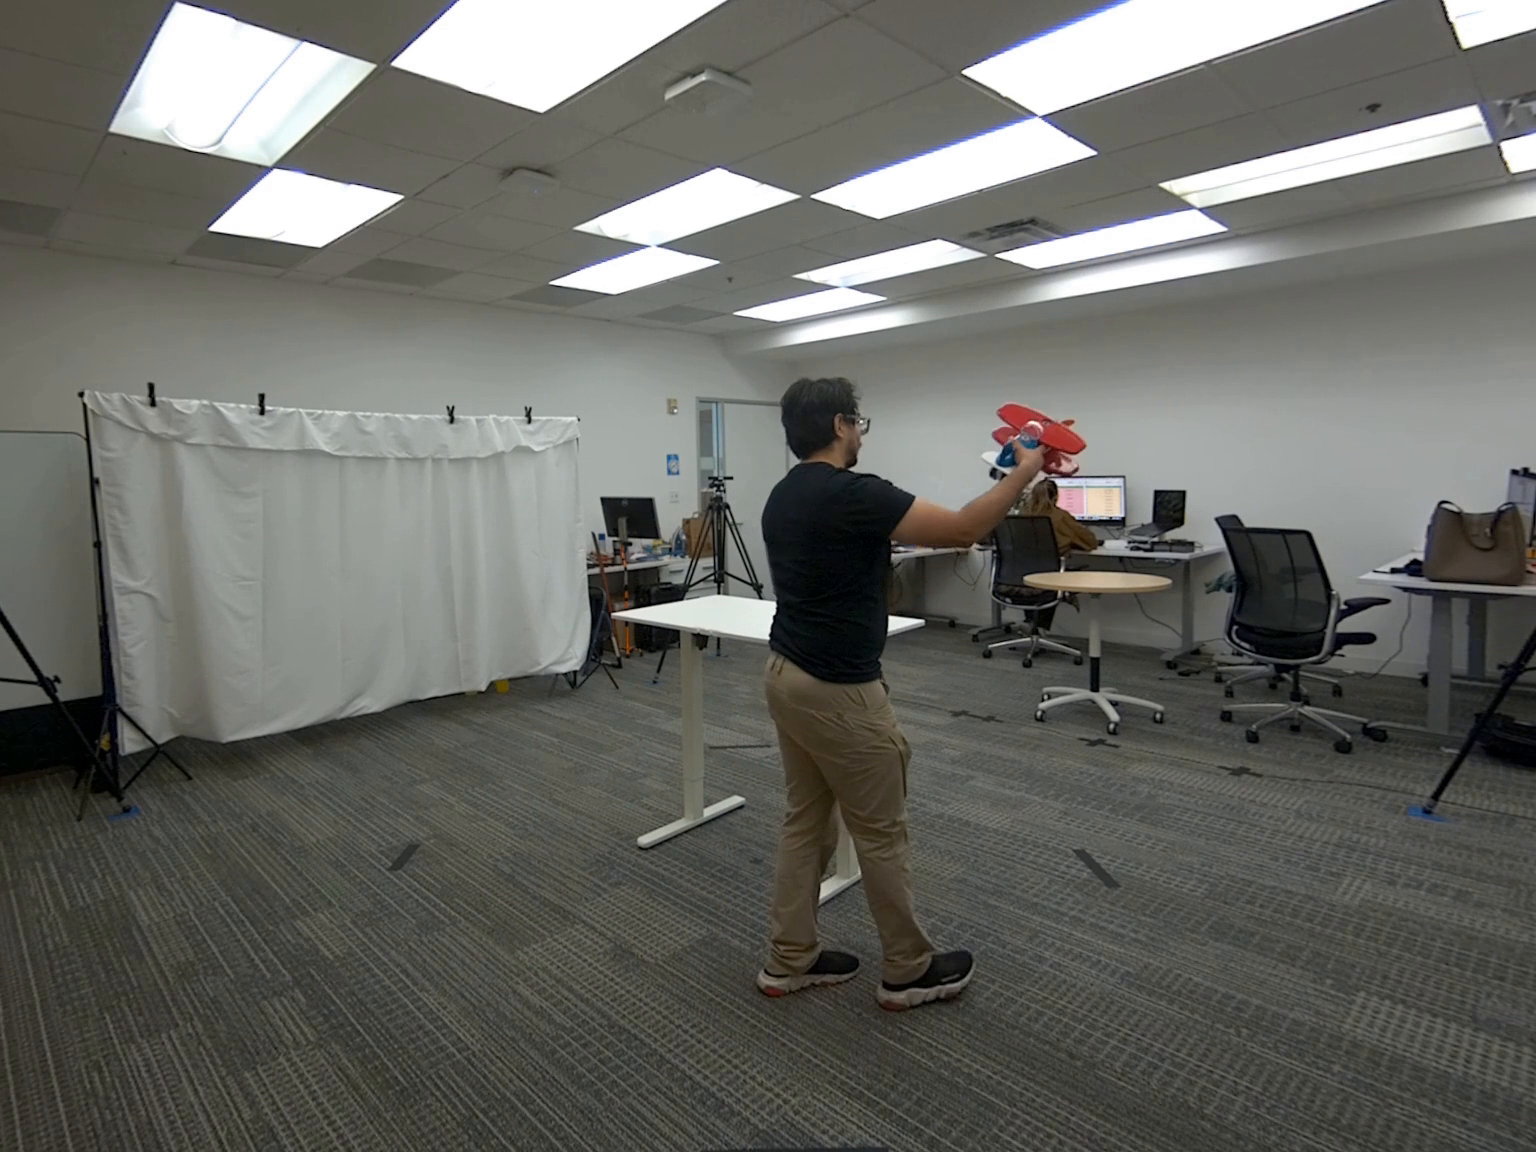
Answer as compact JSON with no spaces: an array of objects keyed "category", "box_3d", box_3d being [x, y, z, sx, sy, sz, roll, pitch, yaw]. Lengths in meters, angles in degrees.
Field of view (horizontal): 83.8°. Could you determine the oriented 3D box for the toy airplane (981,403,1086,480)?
[{"category":"toy airplane","box_3d":[0.724,-0.331,2.296,0.254,0.153,0.261,20,36,10]}]
